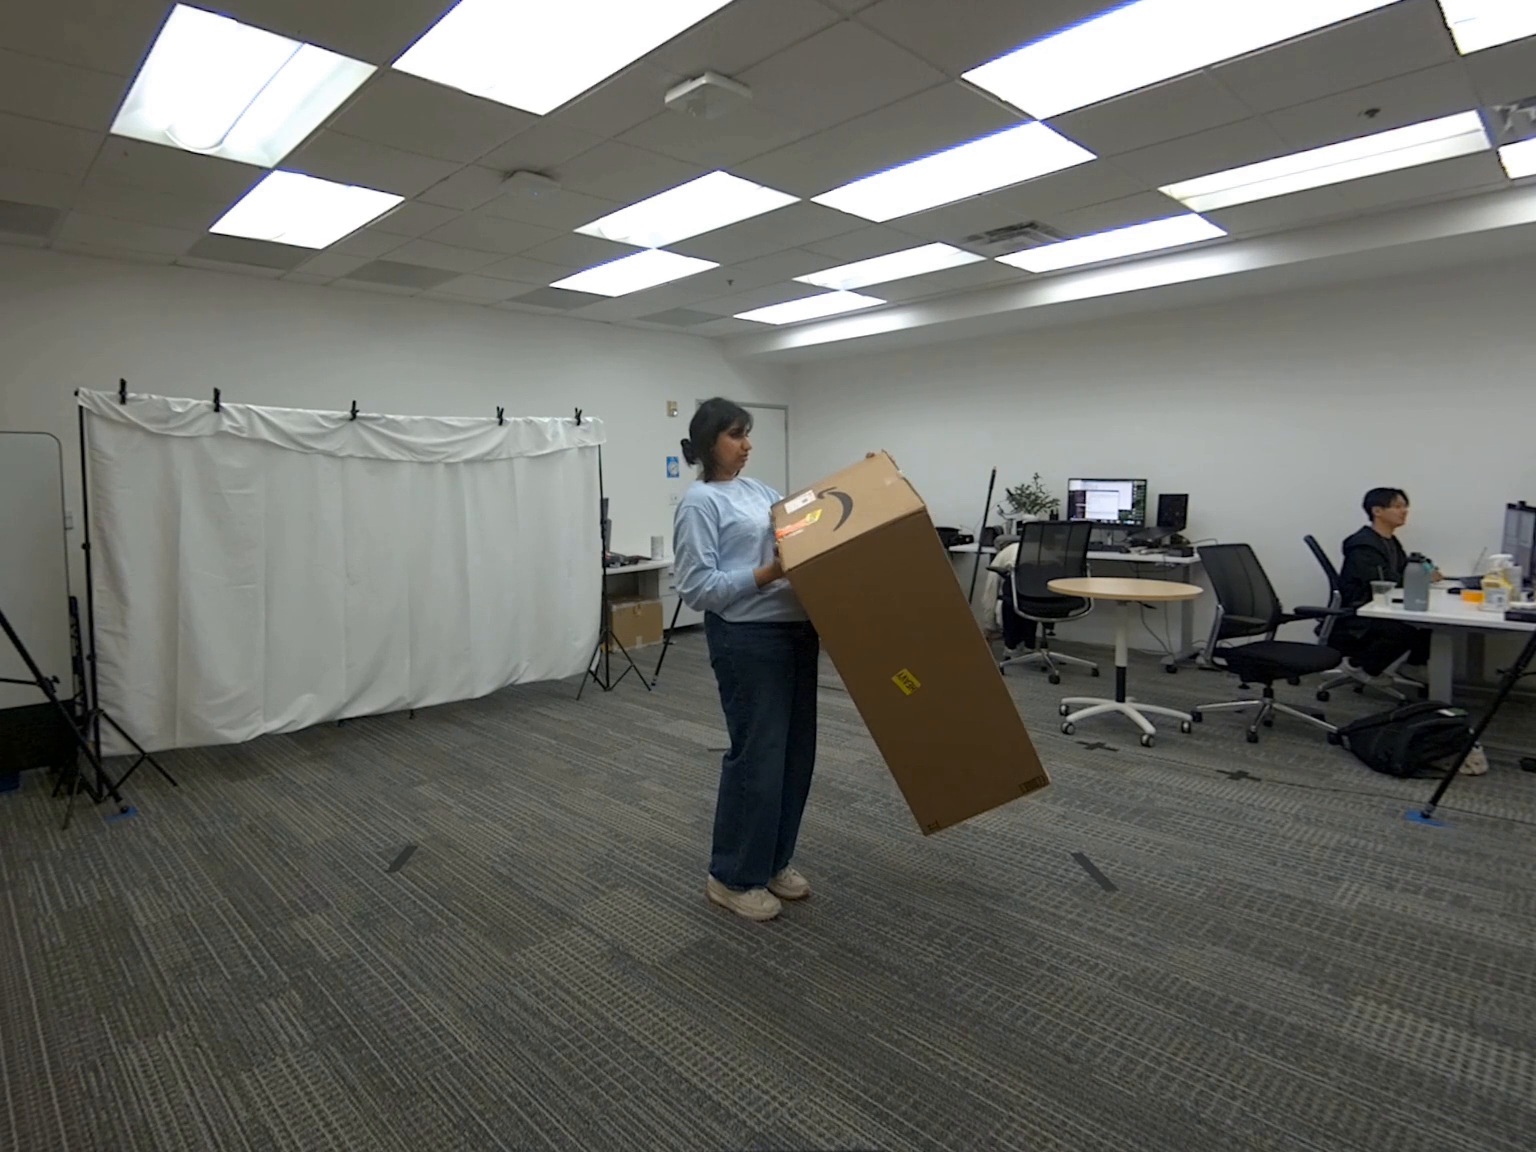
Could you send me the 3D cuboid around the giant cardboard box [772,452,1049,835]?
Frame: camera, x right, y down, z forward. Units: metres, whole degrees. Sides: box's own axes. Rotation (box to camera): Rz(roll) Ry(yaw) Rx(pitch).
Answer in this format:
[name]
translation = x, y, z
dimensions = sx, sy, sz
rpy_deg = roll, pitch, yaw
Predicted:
[giant cardboard box]
translation = 0.440, 0.200, 2.744
dimensions = 0.448, 1.003, 0.596
rpy_deg = -26, 21, 8
